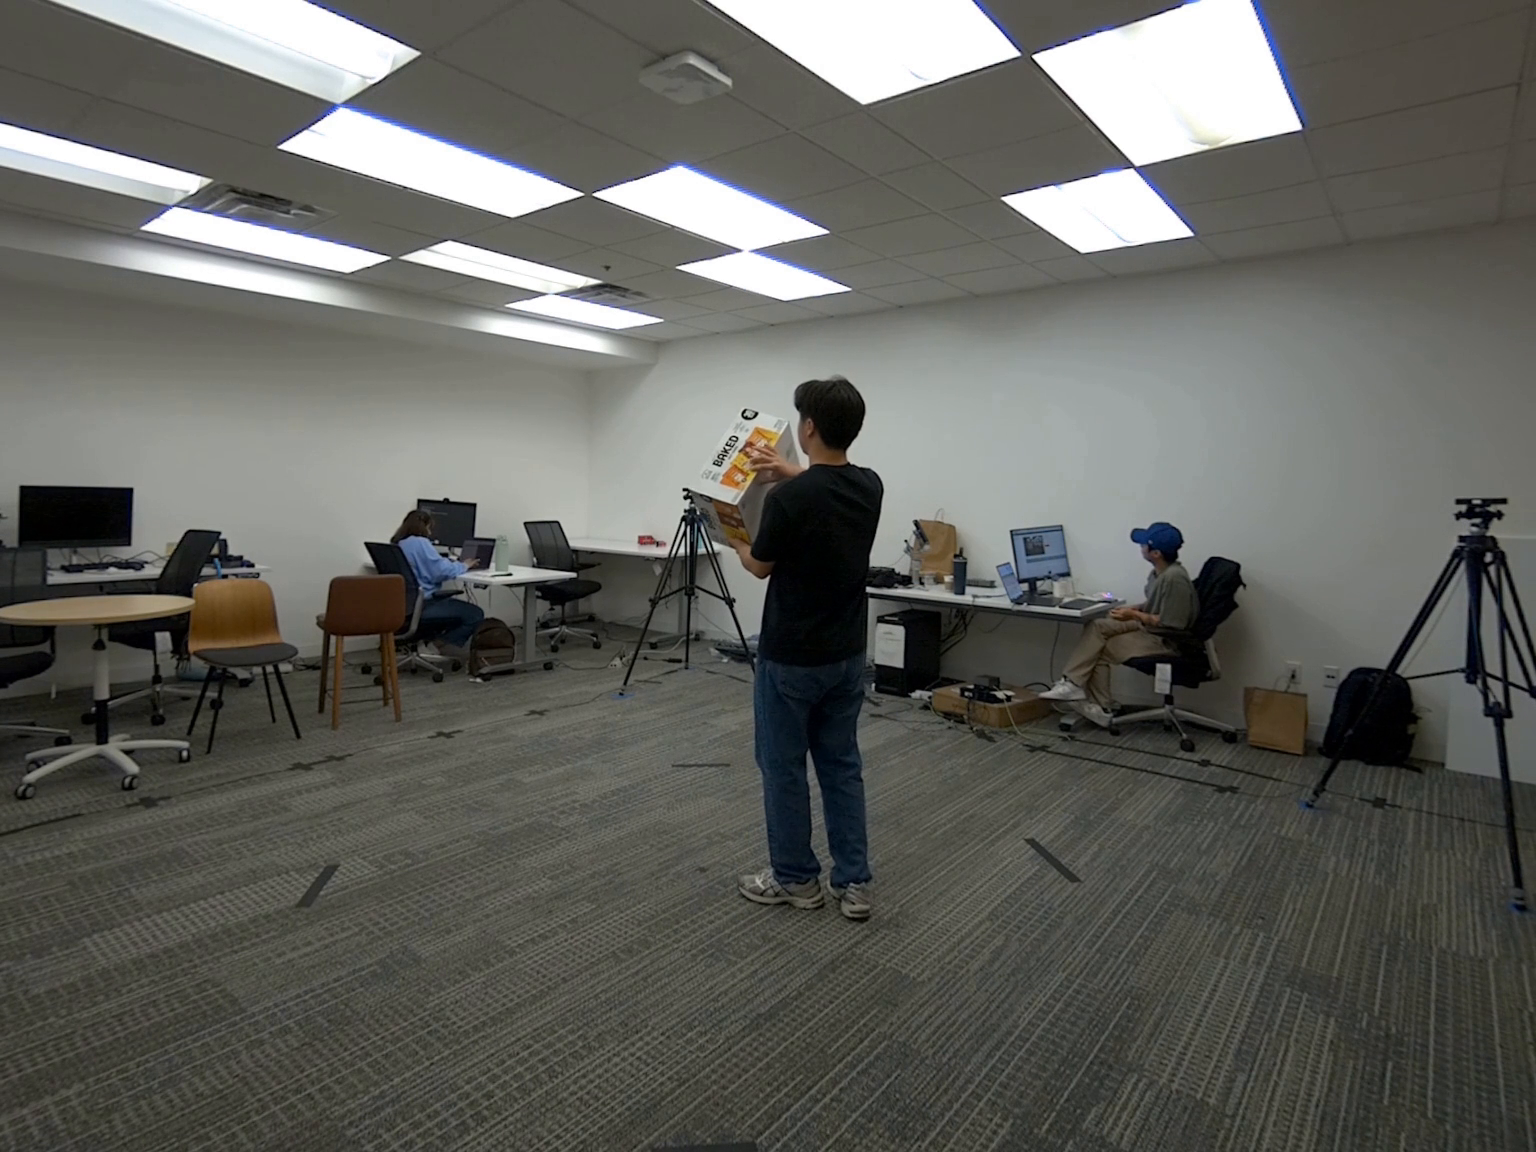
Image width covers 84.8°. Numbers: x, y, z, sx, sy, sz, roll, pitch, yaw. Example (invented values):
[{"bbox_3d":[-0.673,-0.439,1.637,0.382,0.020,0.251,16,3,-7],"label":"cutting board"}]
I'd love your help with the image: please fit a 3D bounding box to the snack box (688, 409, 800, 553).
[{"bbox_3d":[-0.077,-0.347,3.182,0.212,0.408,0.328,19,-26,23],"label":"snack box"}]
